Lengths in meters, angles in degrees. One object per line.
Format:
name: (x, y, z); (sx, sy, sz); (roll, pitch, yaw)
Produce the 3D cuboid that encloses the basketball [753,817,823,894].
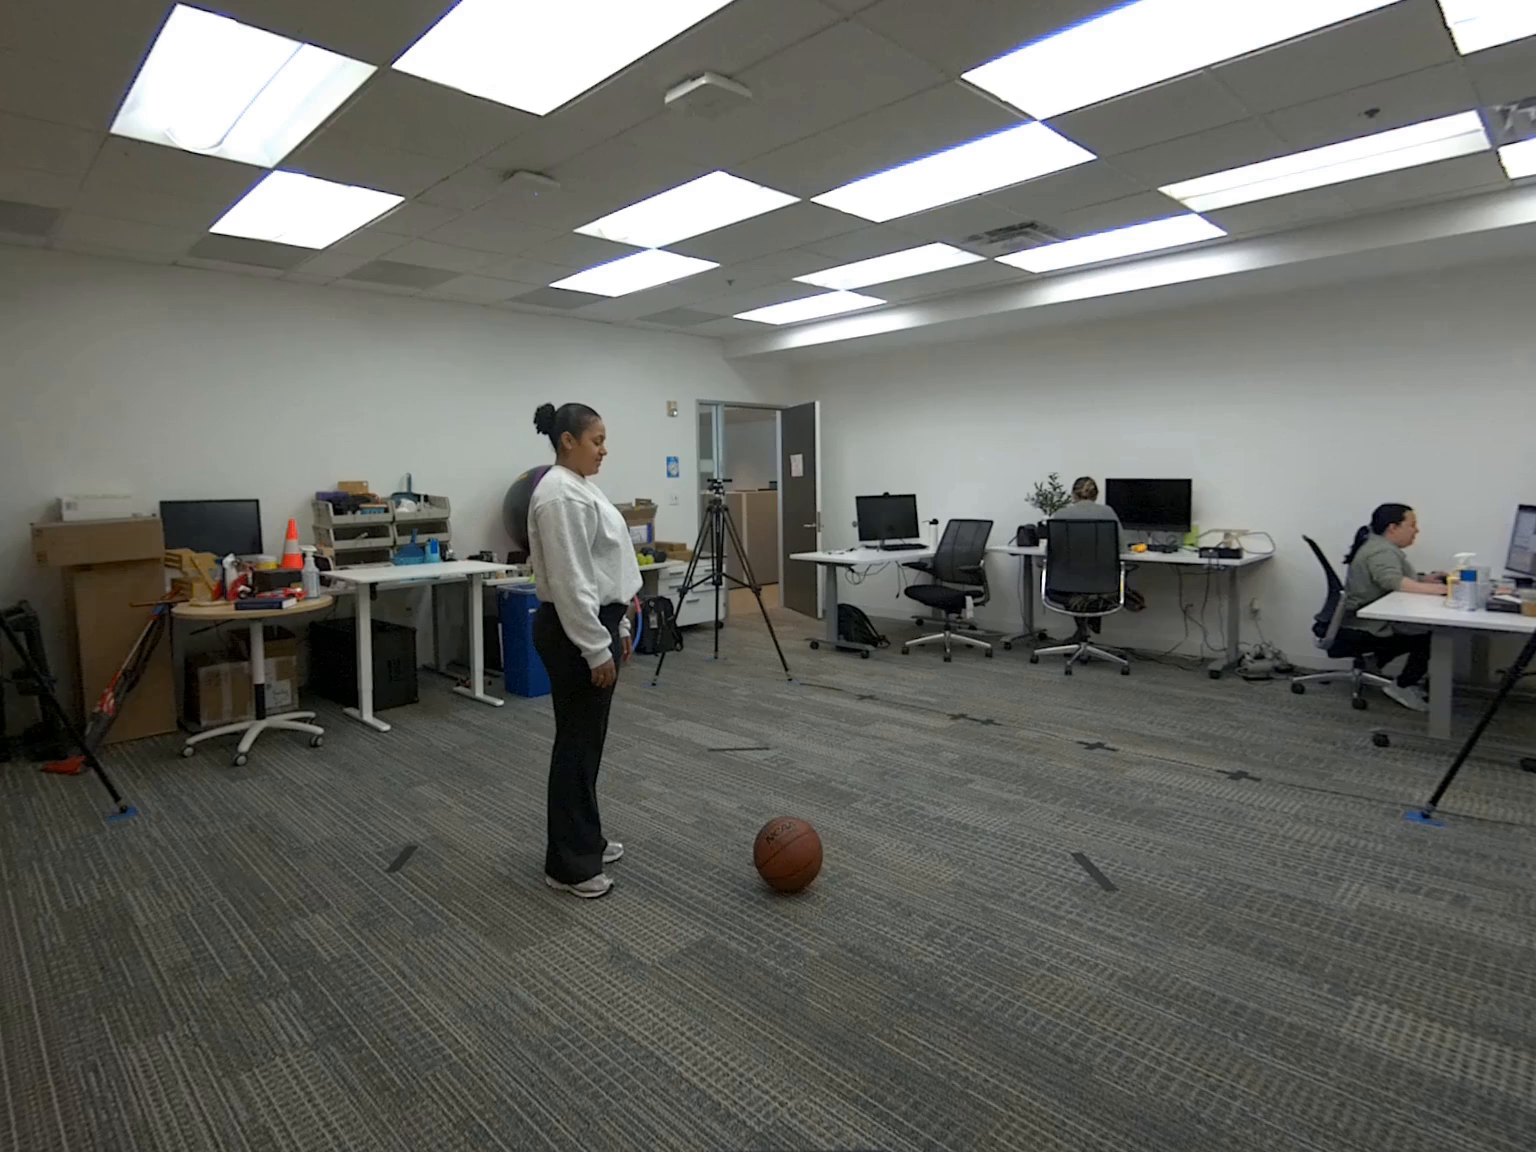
basketball: (0.070, 0.938, 2.912); (0.236, 0.235, 0.237); (-1, 5, -2)
